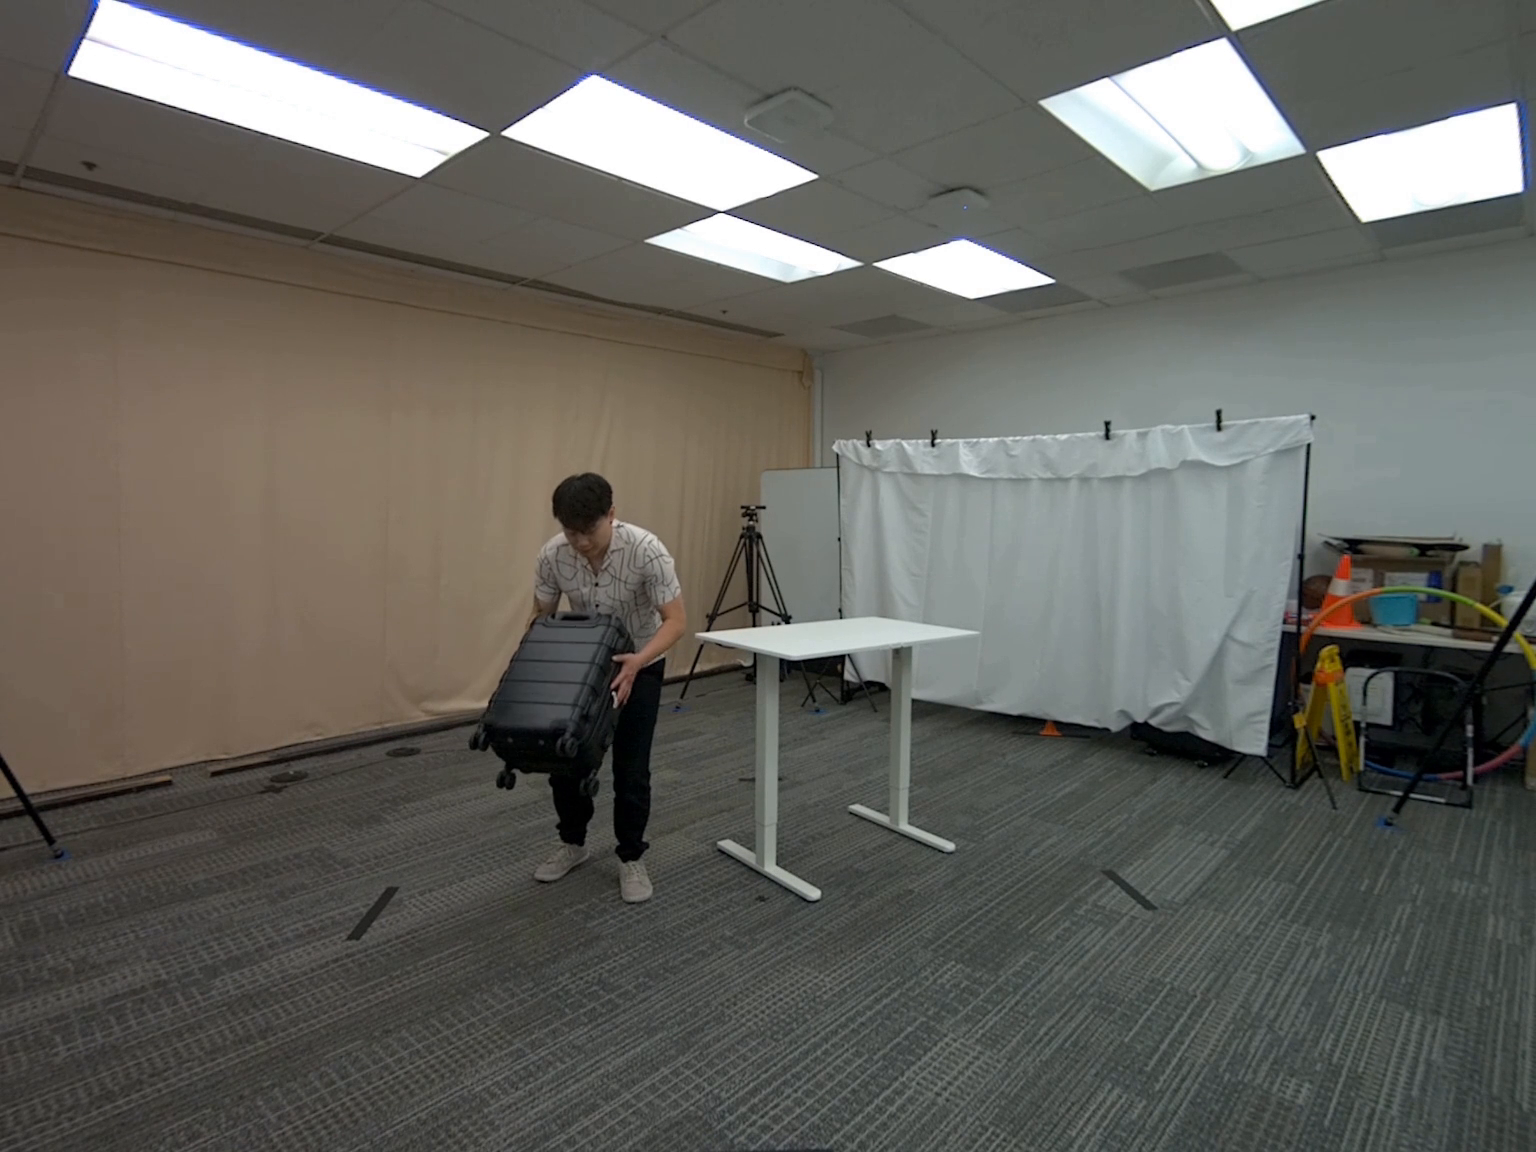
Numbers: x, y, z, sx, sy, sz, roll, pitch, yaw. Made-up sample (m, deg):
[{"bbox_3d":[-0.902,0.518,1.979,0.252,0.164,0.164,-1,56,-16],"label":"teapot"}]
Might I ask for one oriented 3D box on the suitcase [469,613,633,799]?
[{"bbox_3d":[-0.654,0.377,2.680,0.382,0.242,0.555,-2,44,16],"label":"suitcase"}]
